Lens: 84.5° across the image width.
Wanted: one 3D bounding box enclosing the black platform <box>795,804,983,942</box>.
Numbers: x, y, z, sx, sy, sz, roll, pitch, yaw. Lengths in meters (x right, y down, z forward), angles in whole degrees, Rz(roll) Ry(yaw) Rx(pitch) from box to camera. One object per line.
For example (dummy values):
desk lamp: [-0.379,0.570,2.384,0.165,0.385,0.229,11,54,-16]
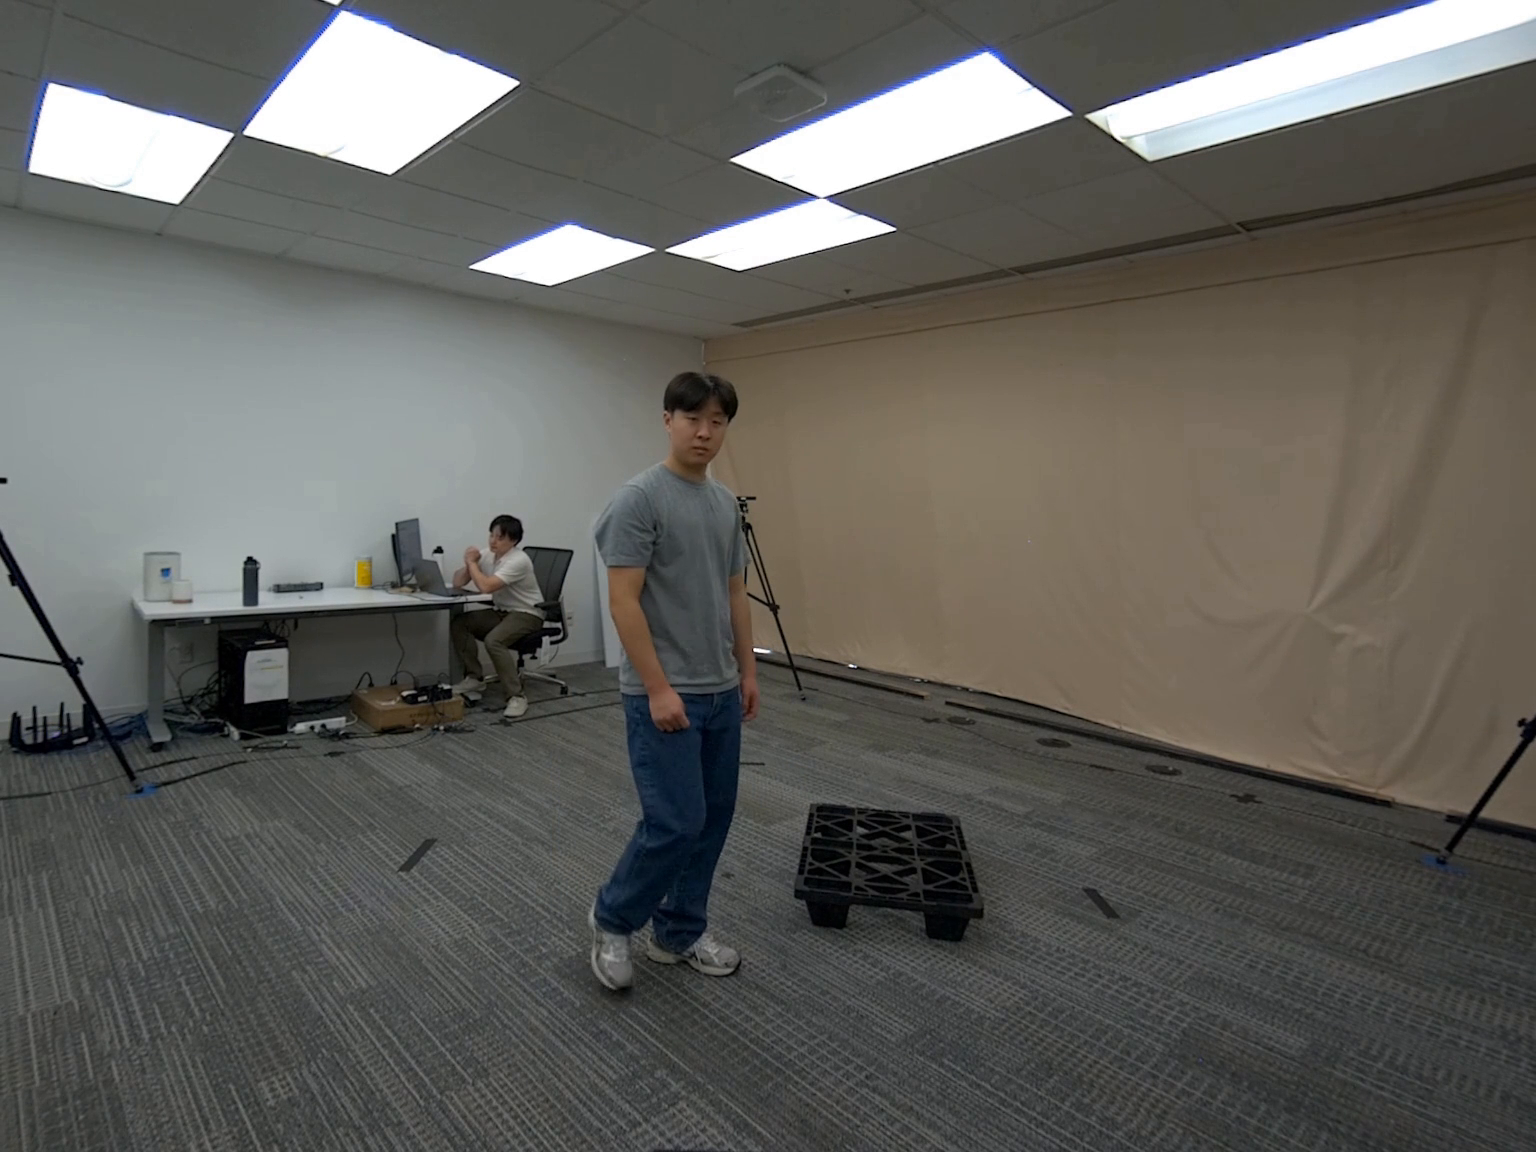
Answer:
black platform: [0.413,1.053,3.062,0.609,0.143,0.802,2,5,8]
